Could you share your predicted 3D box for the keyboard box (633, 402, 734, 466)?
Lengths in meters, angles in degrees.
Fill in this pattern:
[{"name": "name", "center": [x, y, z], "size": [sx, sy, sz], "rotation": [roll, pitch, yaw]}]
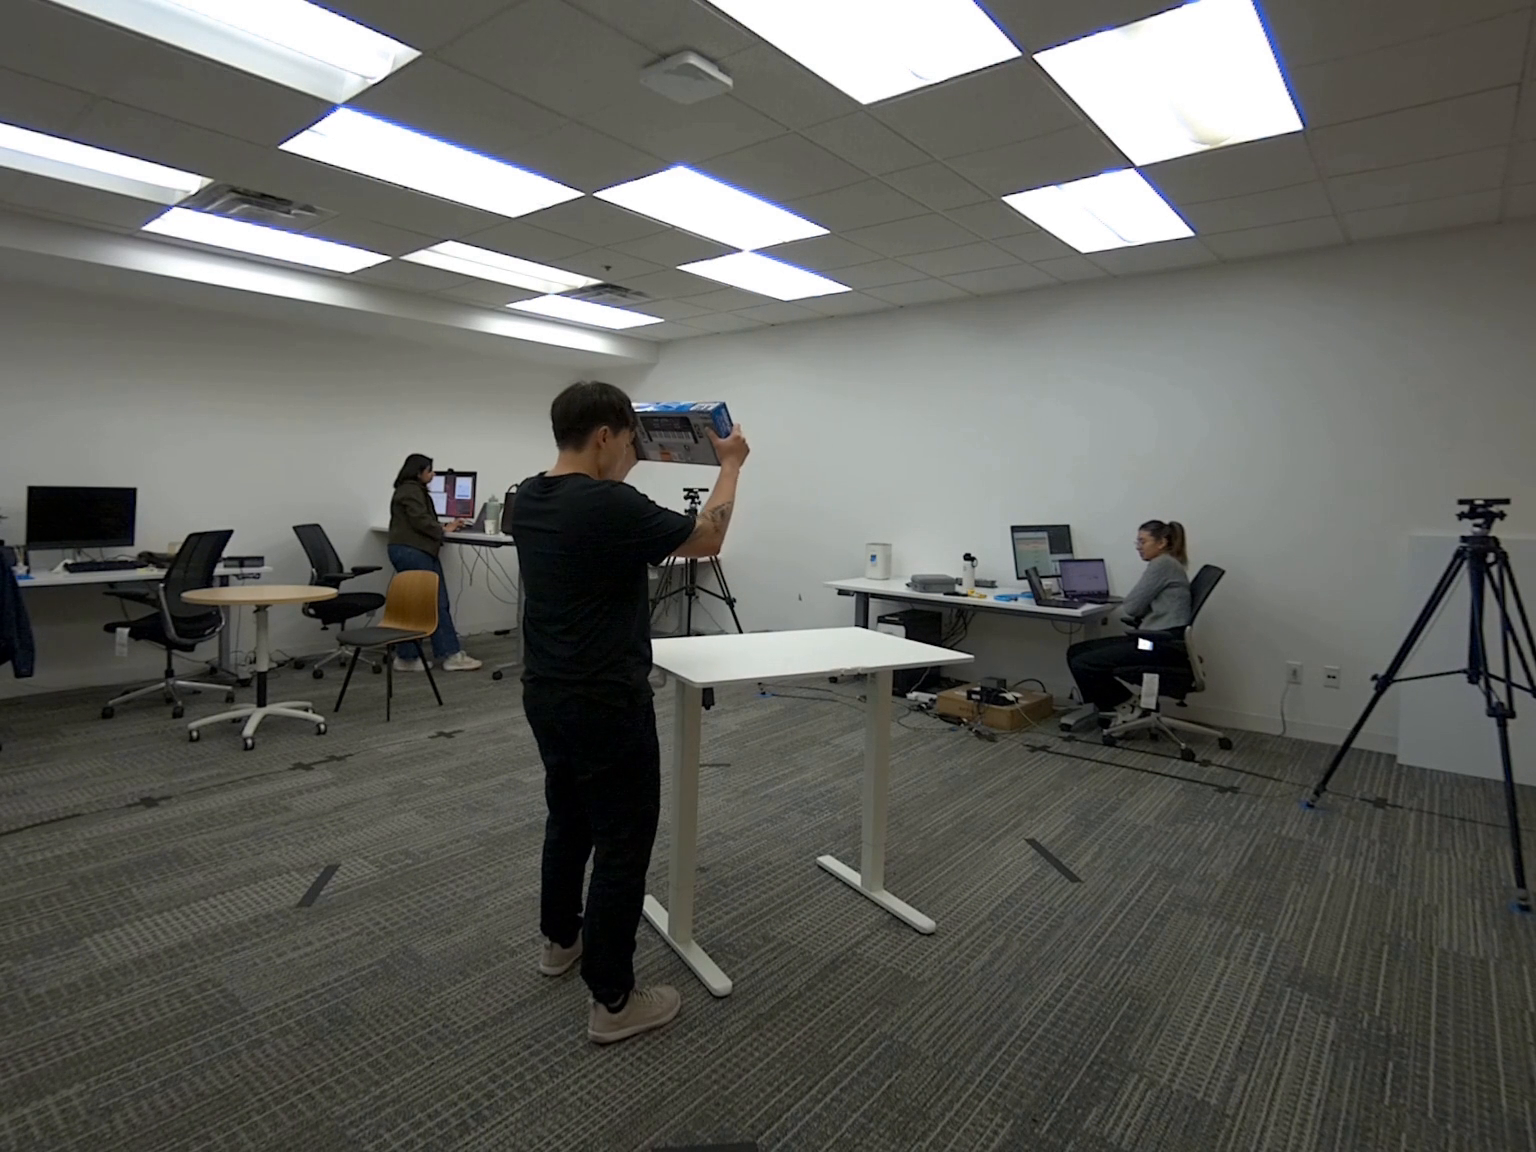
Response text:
[{"name": "keyboard box", "center": [-0.262, -0.401, 2.463], "size": [0.453, 0.171, 0.059], "rotation": [11, 40, 45]}]
